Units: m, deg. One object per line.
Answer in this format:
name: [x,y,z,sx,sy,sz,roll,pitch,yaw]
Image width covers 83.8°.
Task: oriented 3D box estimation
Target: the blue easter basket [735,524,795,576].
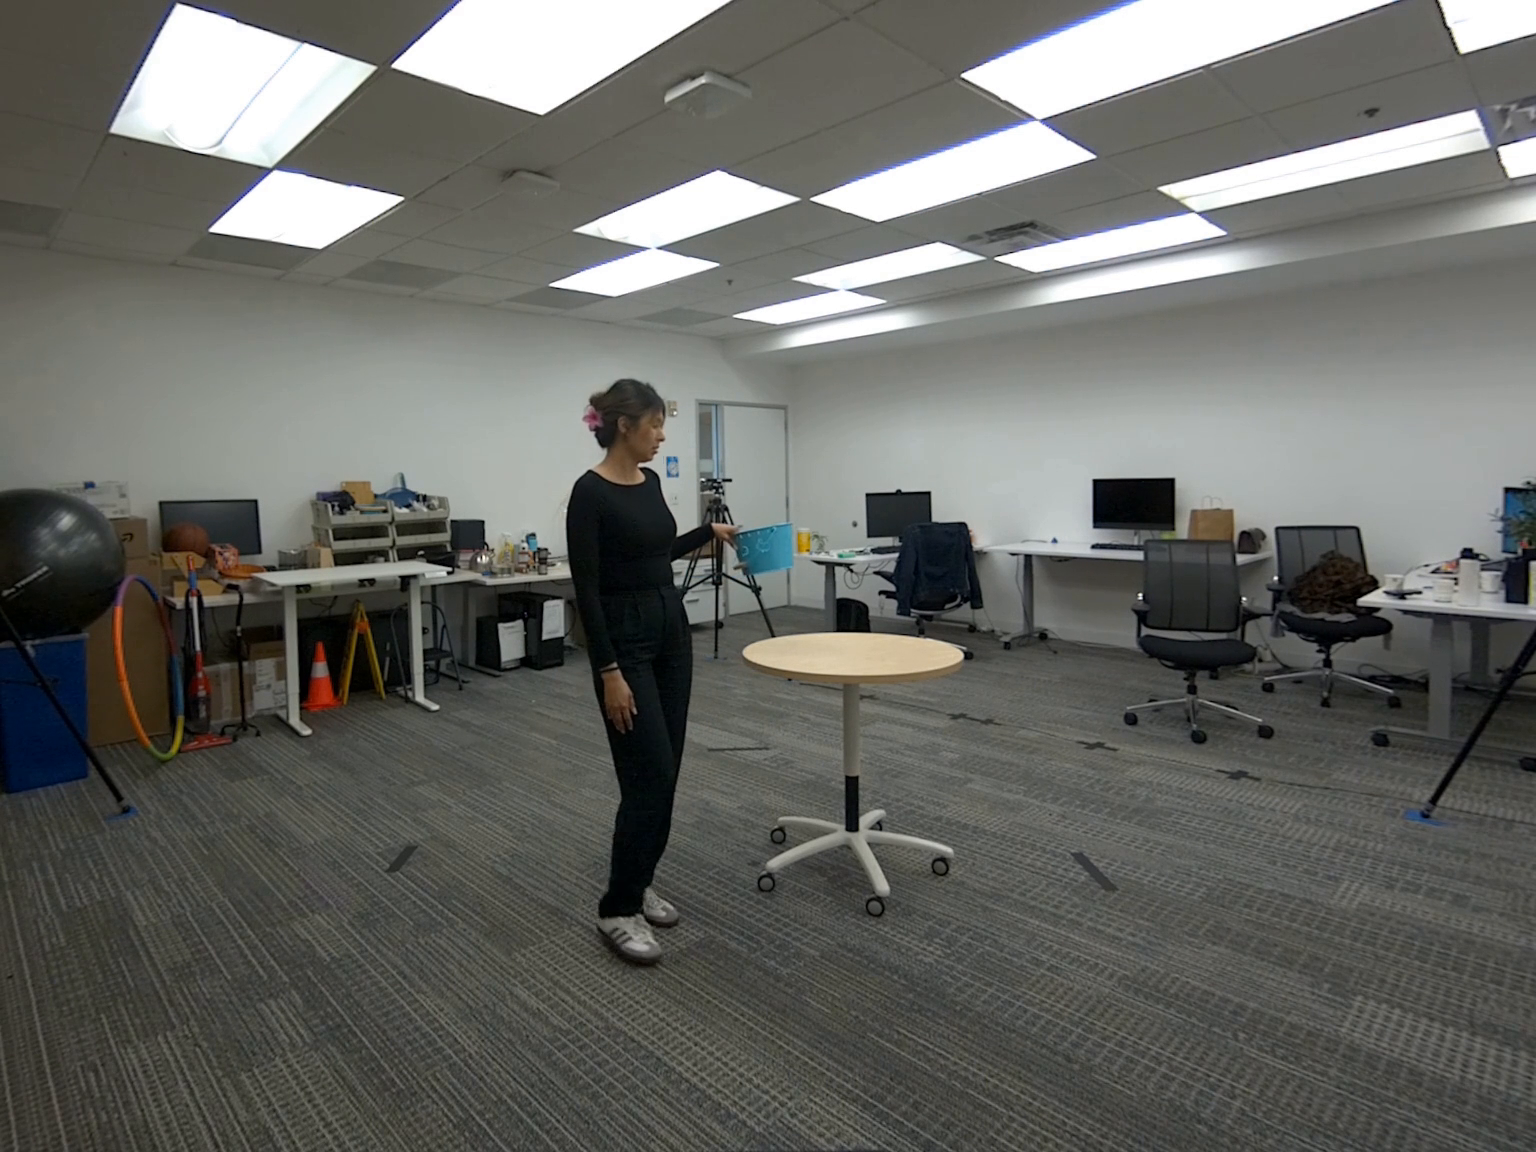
blue easter basket: [-0.031,-0.085,3.002,0.243,0.156,0.244,-8,0,-2]
